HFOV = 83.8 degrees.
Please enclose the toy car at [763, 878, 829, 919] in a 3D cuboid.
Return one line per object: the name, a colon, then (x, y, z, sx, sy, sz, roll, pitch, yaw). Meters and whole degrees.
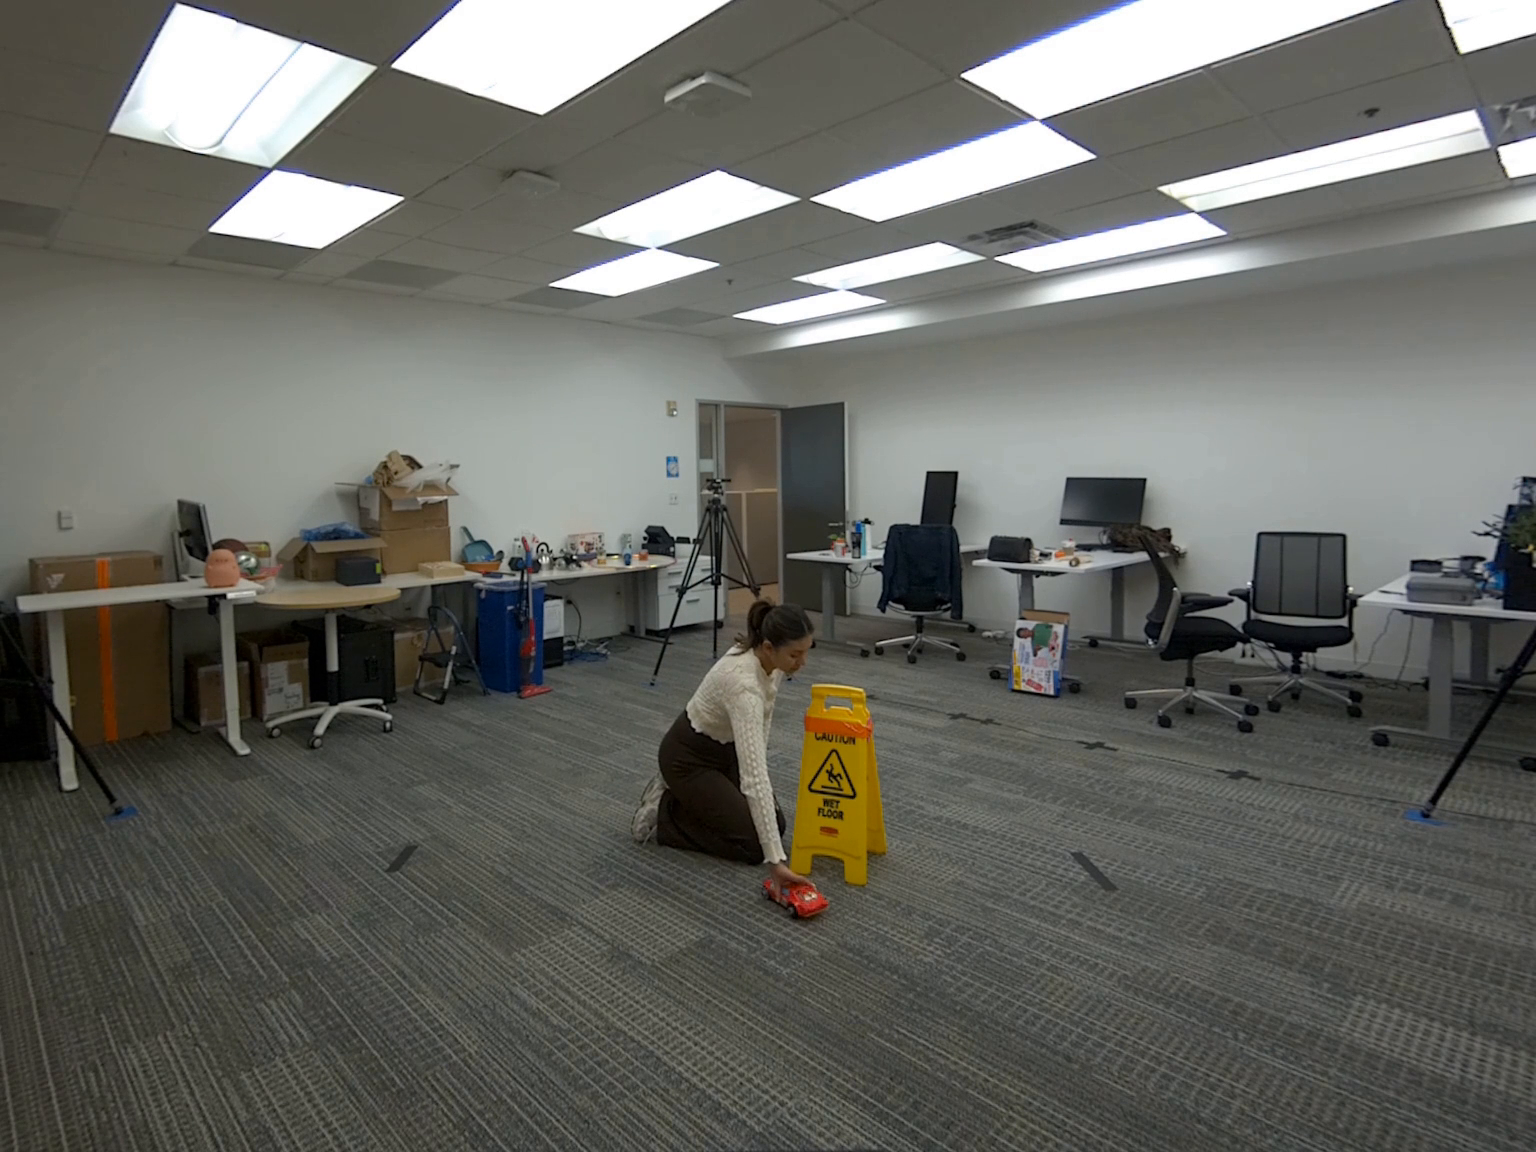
toy car: (0.095, 1.049, 2.782, 0.127, 0.083, 0.259, -4, -4, -32)
